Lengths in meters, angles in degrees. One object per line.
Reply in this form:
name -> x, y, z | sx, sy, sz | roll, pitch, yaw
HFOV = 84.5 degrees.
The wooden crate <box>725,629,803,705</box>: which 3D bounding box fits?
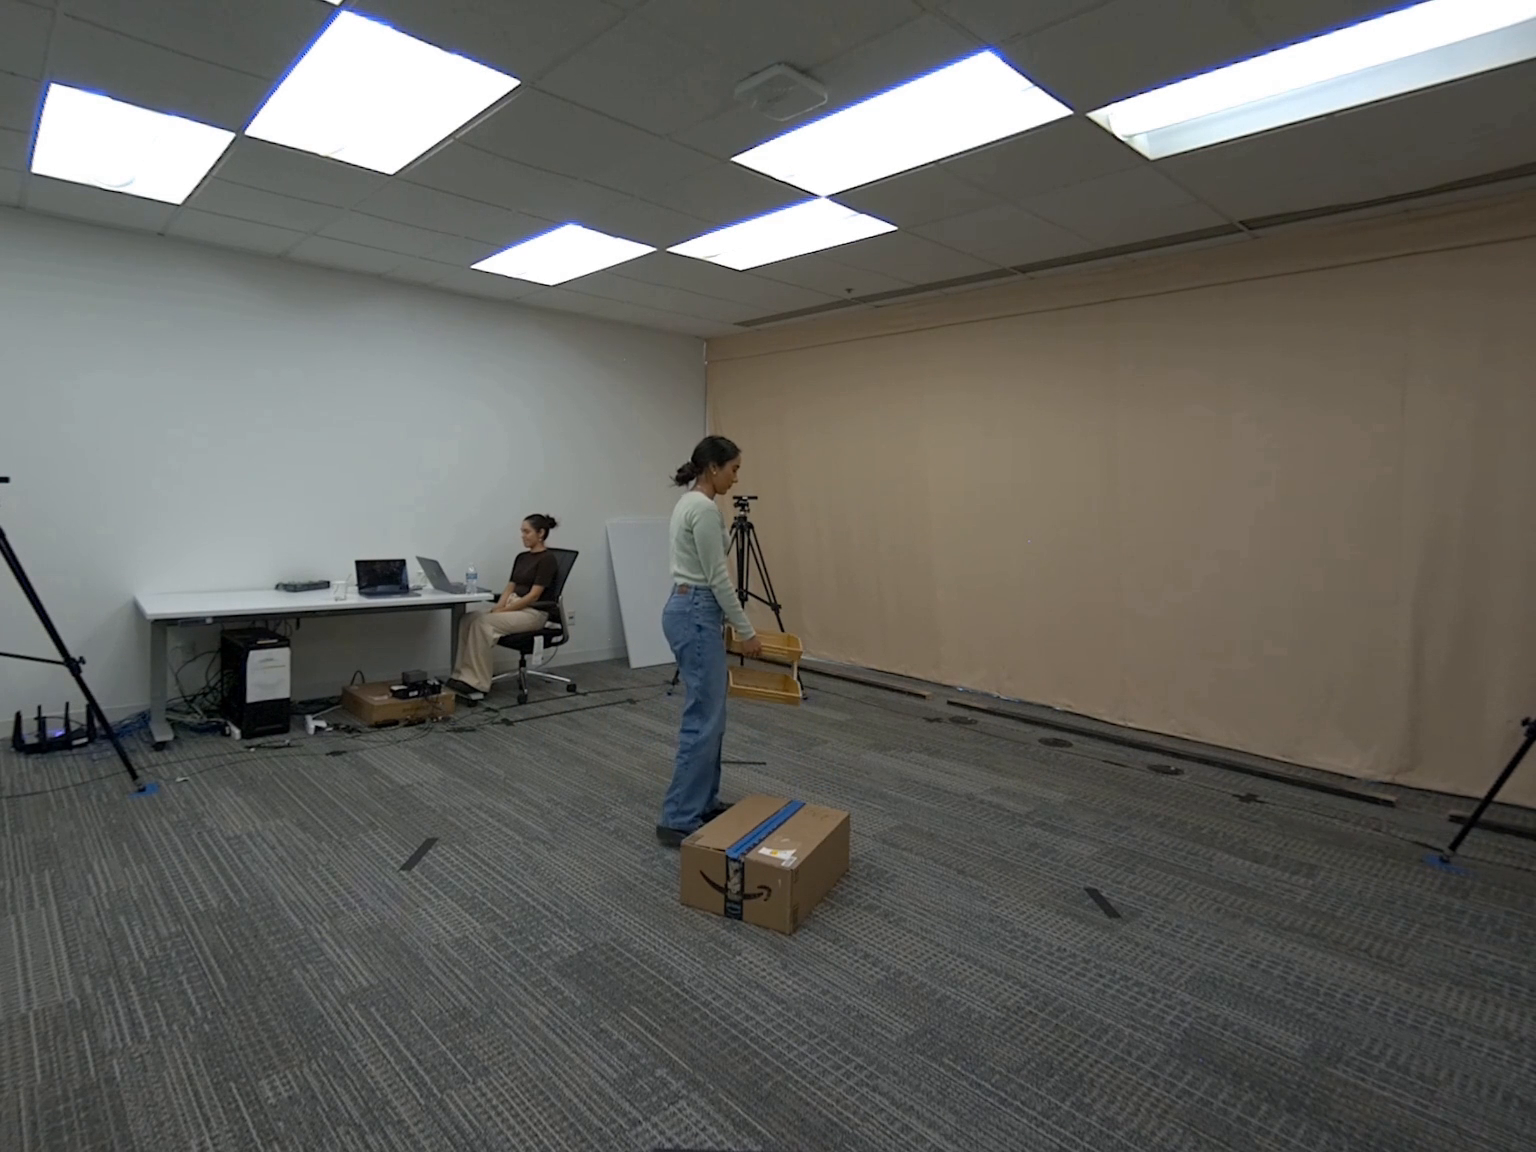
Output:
wooden crate -> -0.034, 0.366, 3.507 | 0.320, 0.273, 0.306 | 10, 2, -15
